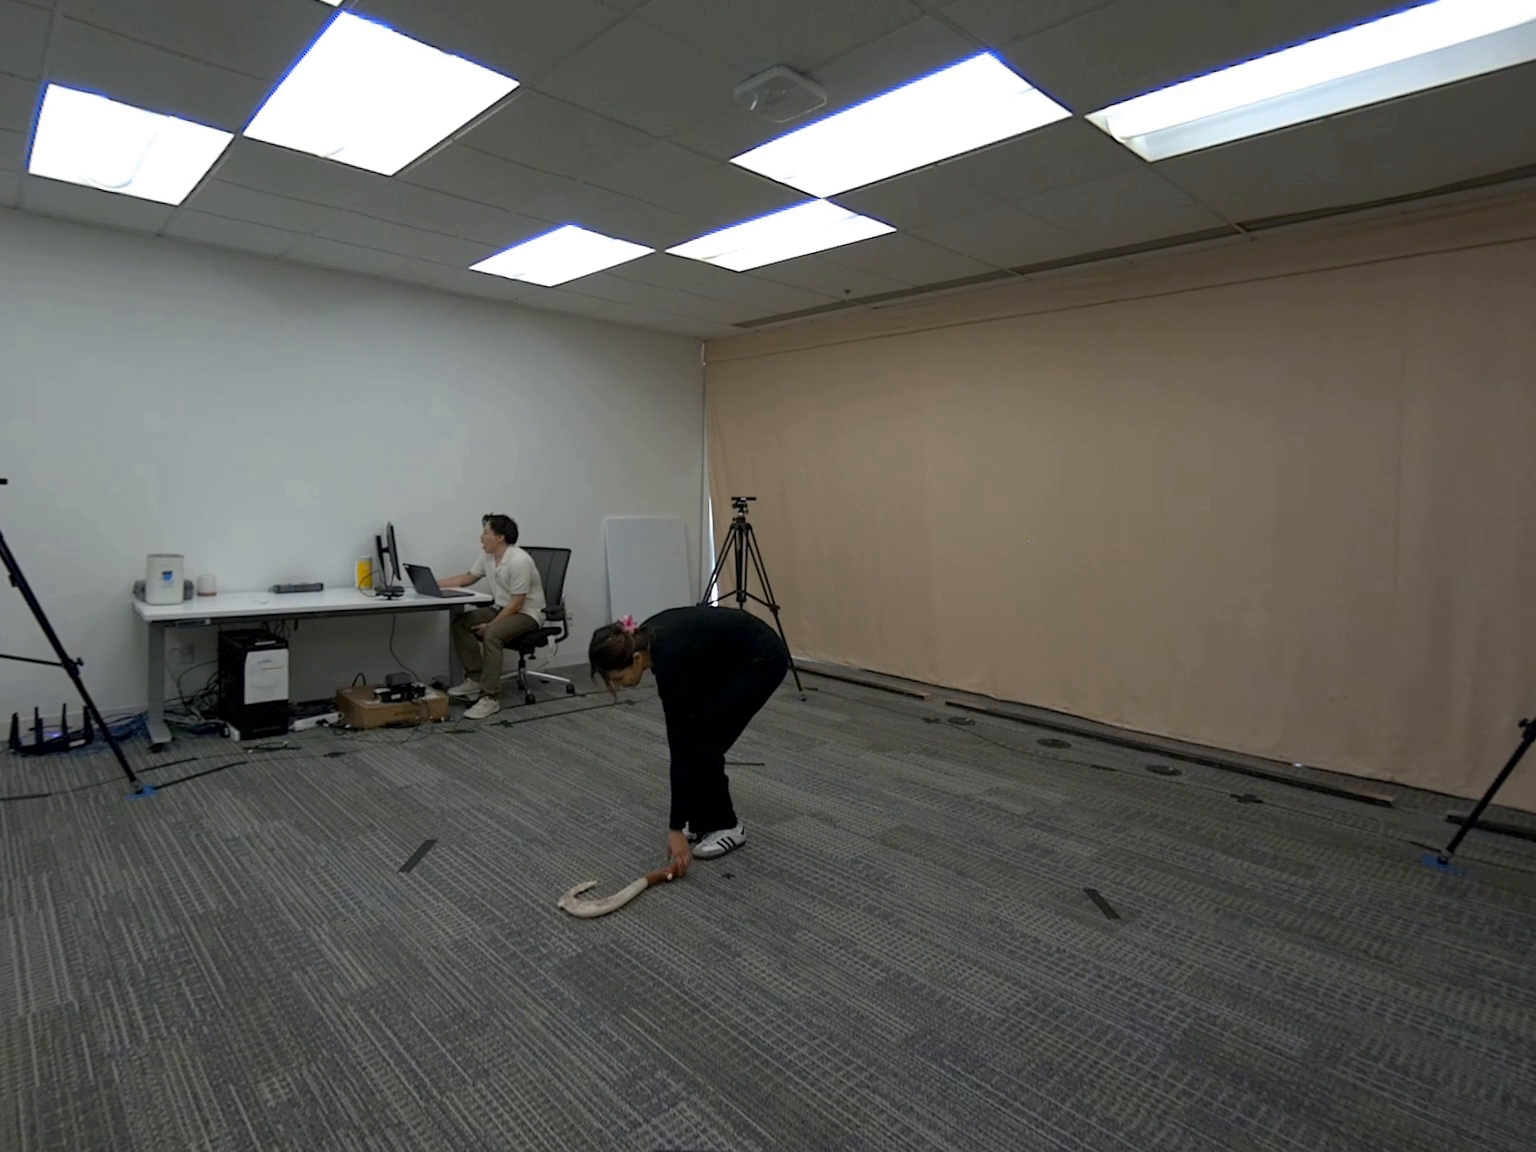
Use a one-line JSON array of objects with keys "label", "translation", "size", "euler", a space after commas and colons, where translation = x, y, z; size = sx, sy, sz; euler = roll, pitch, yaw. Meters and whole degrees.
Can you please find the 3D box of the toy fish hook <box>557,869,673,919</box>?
[{"label": "toy fish hook", "translation": [-0.515, 1.090, 2.974], "size": [0.230, 0.048, 0.495], "euler": [7, 7, 41]}]
